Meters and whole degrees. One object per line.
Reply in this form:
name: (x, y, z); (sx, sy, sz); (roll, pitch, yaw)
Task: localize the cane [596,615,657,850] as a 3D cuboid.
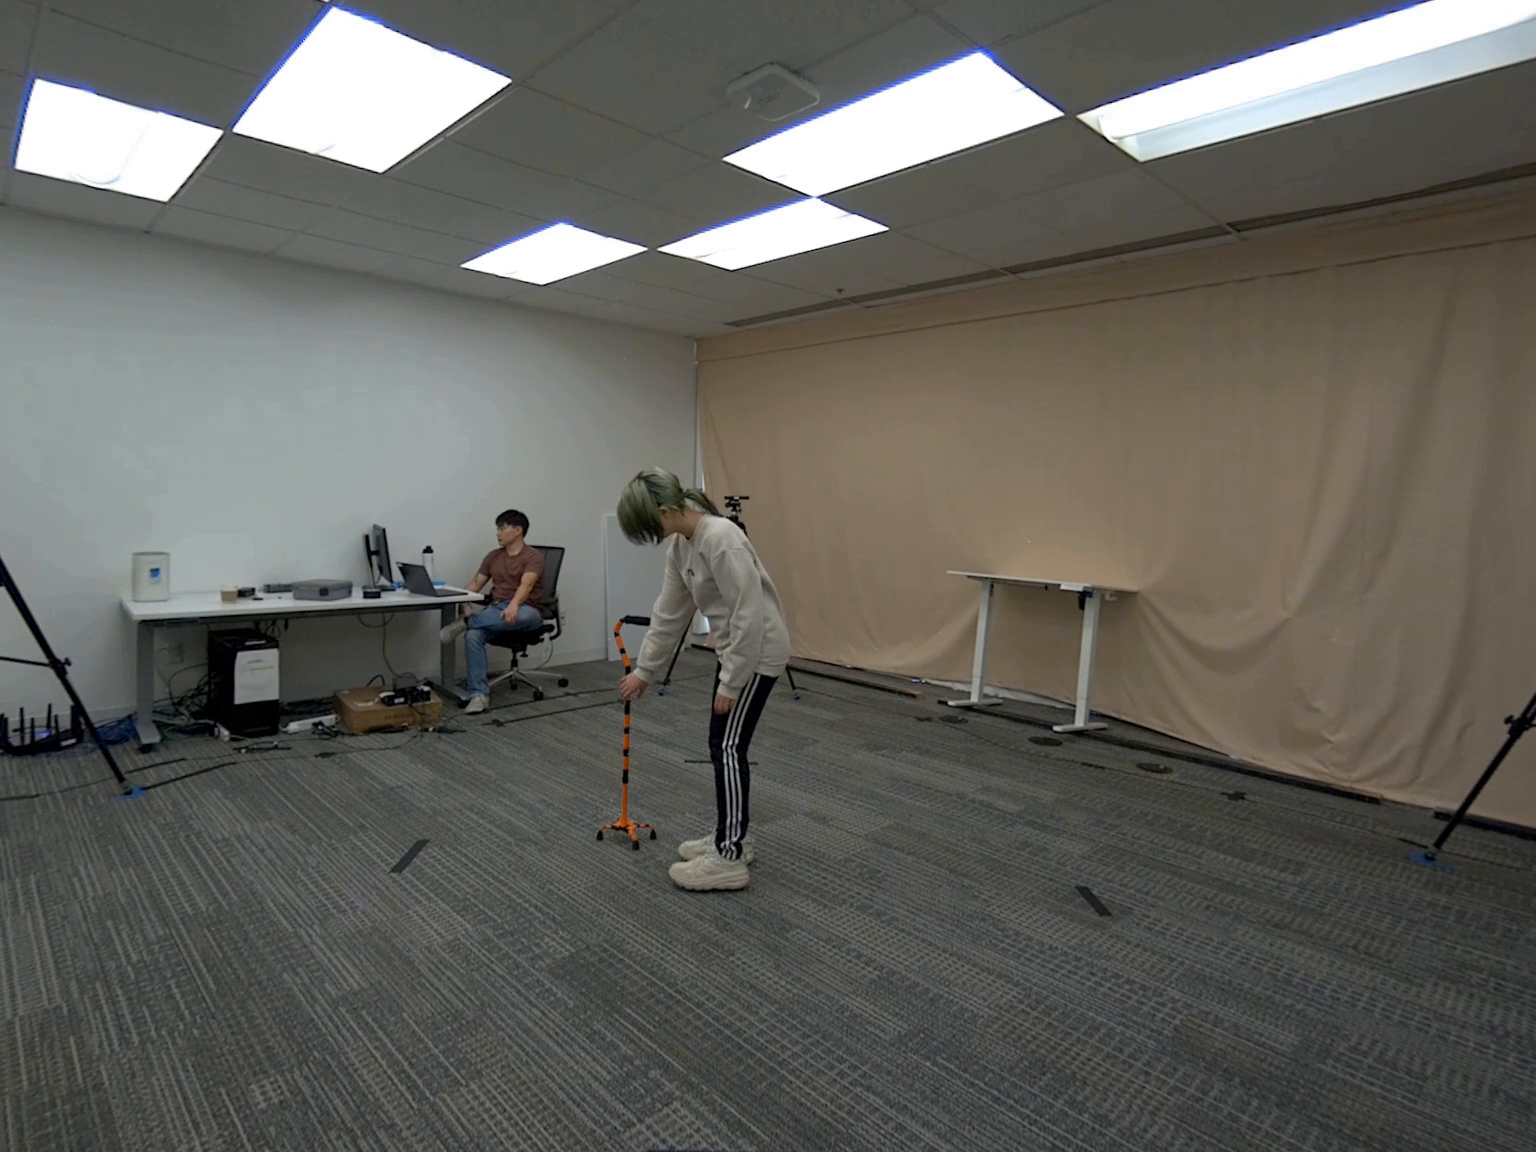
cane: (-0.577, 0.612, 3.380); (0.211, 0.905, 0.149); (2, 4, 28)
